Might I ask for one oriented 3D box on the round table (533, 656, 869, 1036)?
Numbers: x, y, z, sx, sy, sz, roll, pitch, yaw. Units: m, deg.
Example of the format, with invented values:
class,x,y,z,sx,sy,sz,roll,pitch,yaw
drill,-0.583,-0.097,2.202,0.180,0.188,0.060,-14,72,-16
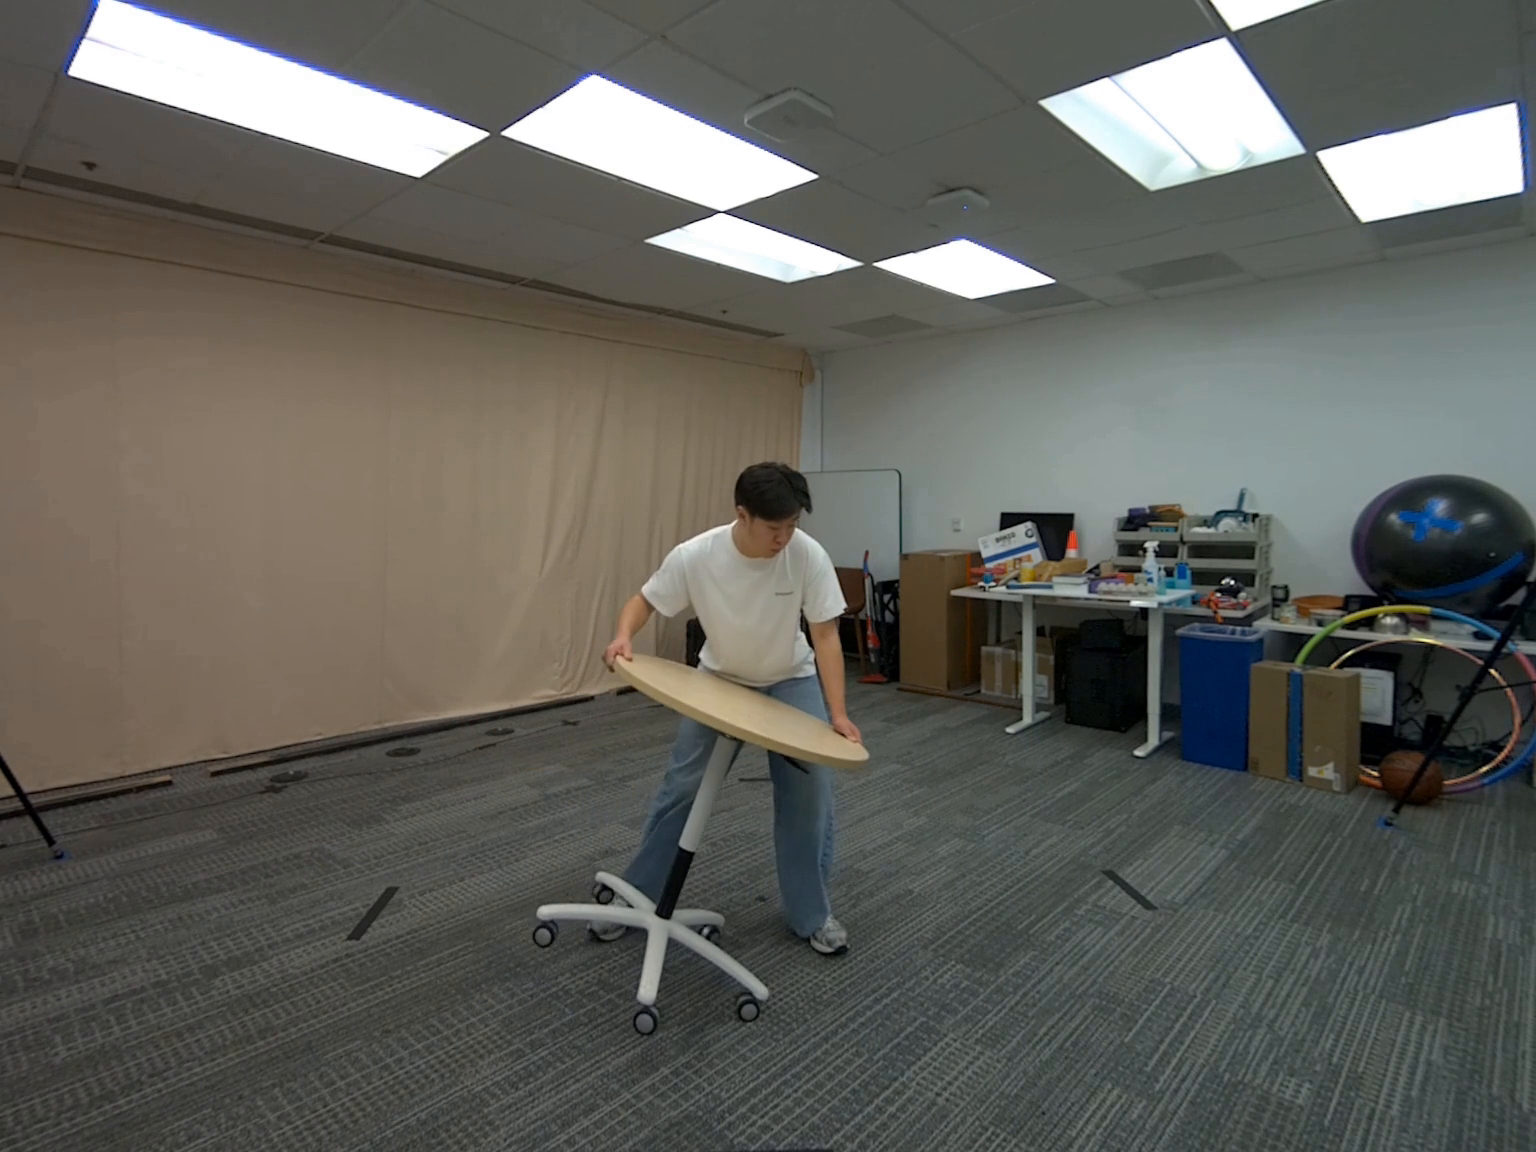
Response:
class,x,y,z,sx,sy,sz,roll,pitch,yaw
round table,-0.215,0.737,2.392,0.763,0.794,0.765,20,0,-2
